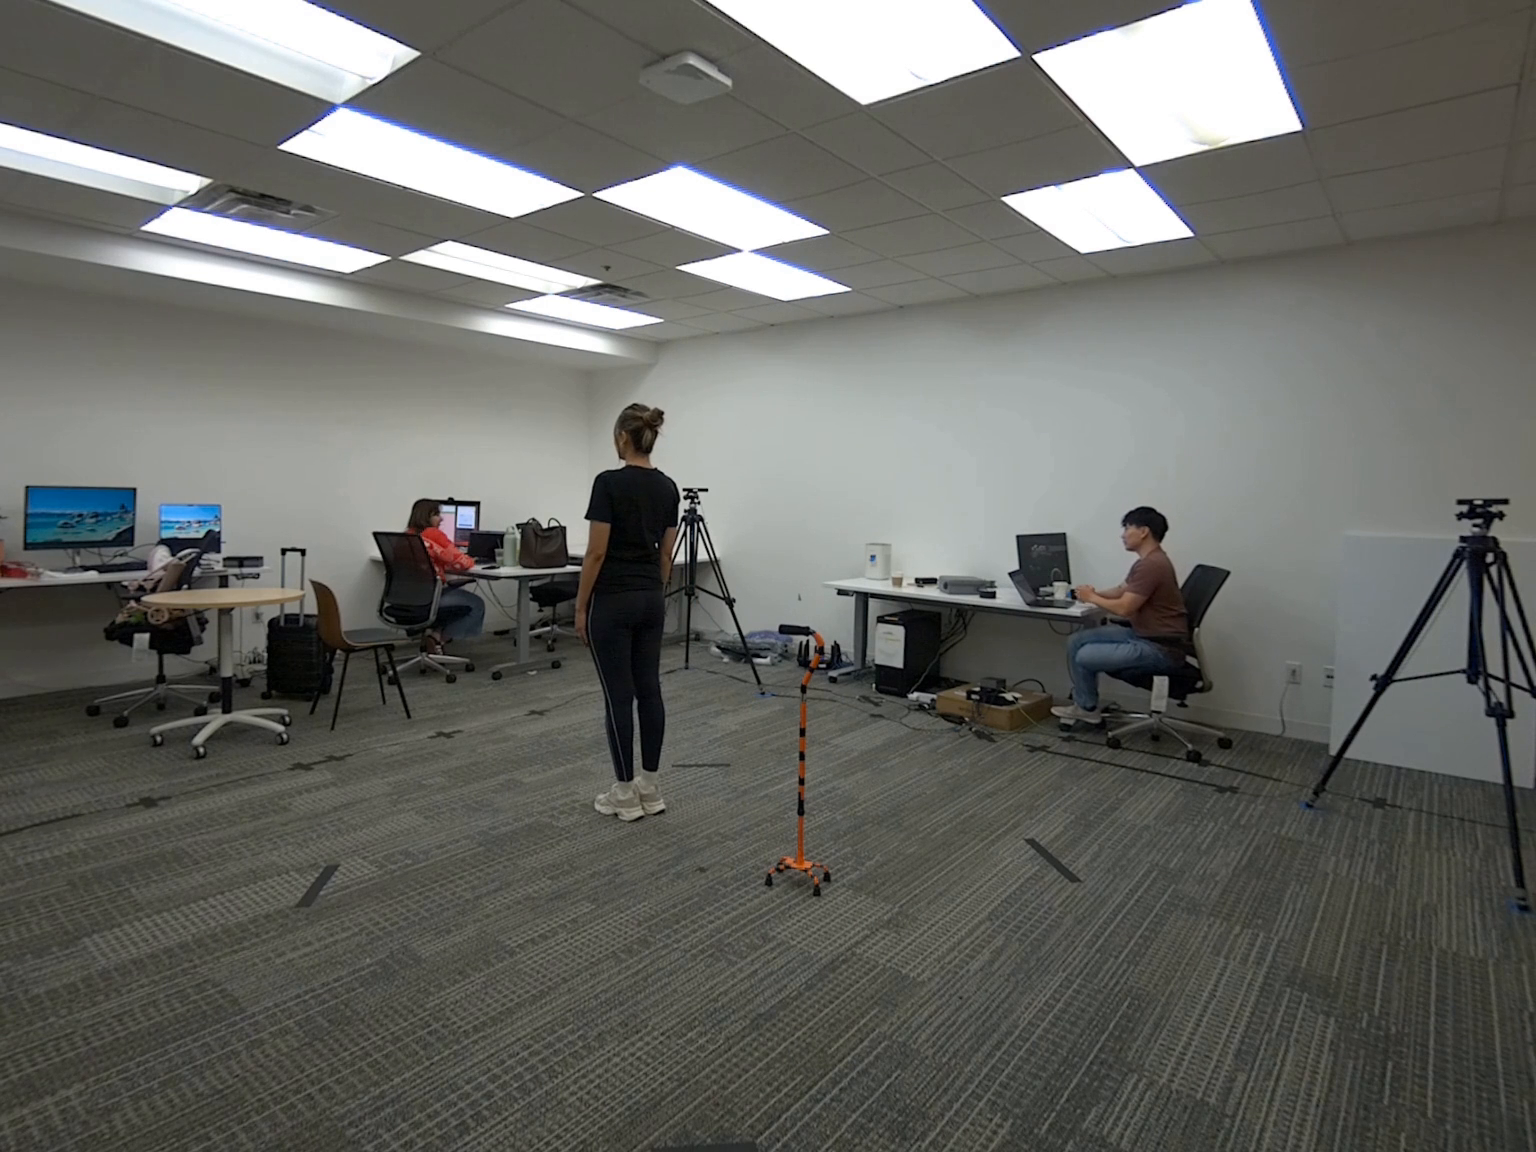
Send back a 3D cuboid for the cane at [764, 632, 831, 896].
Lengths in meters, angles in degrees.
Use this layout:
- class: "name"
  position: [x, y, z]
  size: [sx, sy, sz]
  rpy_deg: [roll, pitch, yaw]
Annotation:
- class: "cane"
  position: [0.110, 0.629, 2.998]
  size: [0.210, 0.905, 0.149]
  rpy_deg: [3, 3, 18]
